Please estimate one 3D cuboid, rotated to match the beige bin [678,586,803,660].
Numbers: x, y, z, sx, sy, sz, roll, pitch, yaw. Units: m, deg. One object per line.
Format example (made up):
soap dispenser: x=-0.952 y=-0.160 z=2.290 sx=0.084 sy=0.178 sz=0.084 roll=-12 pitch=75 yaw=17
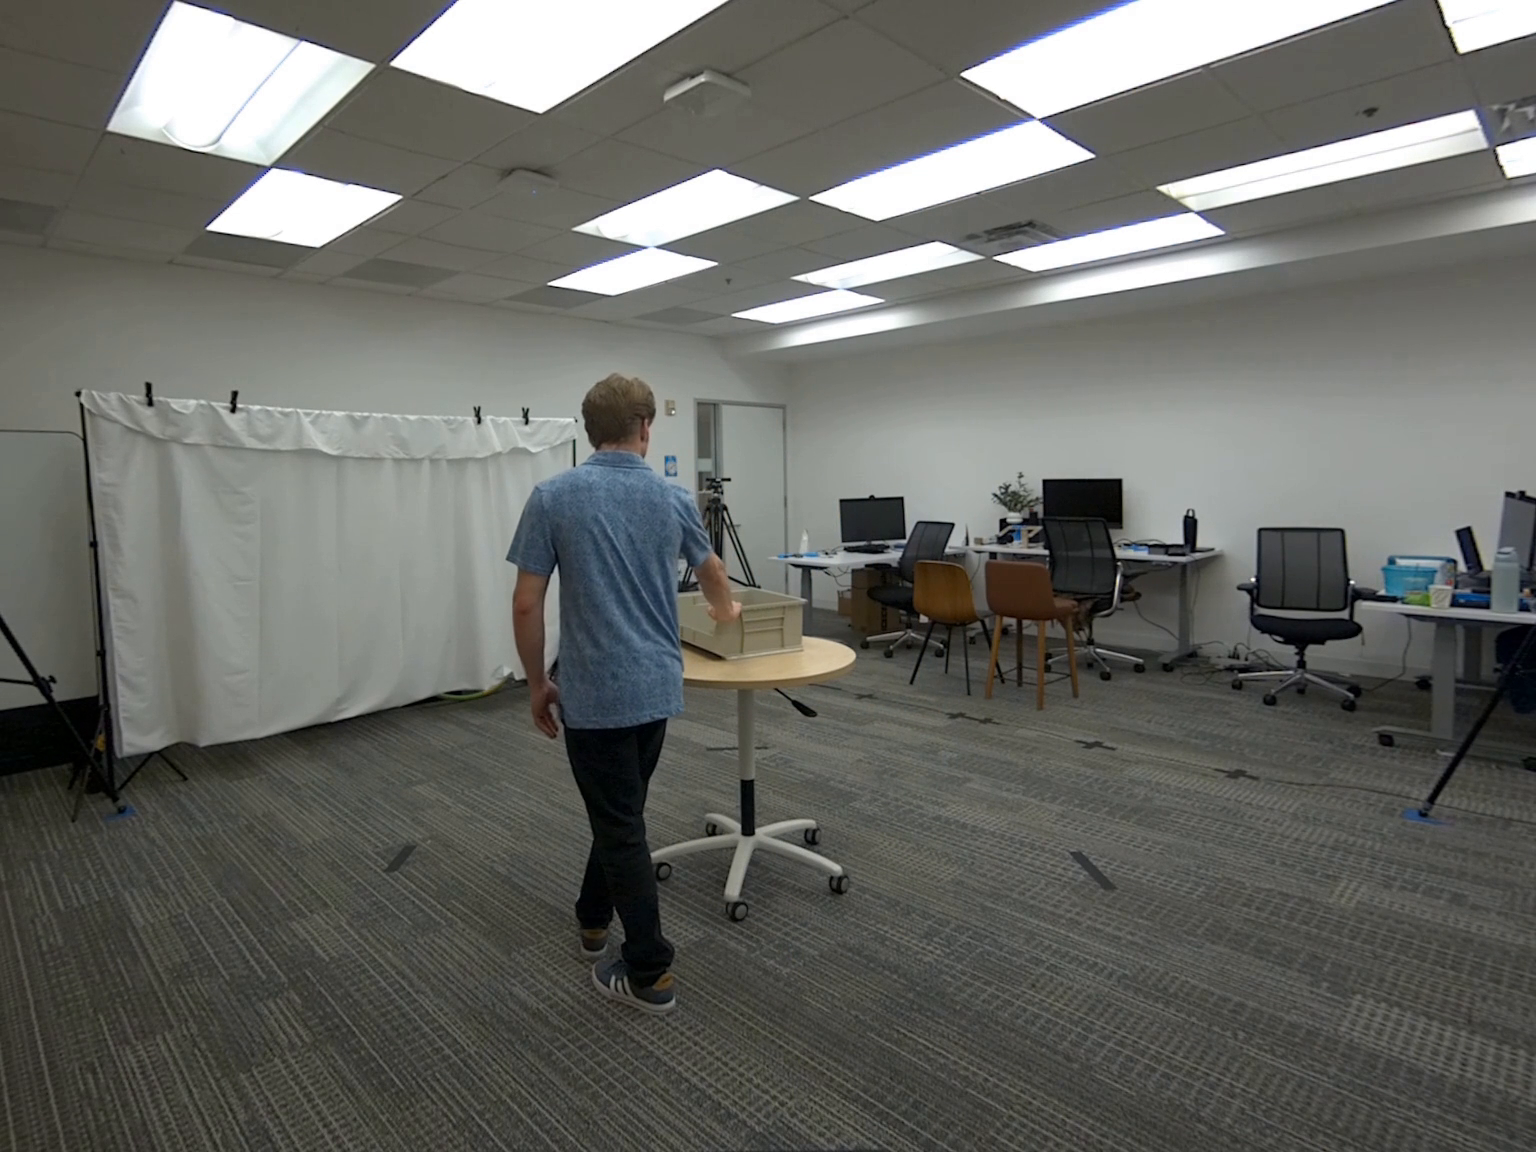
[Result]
beige bin: x=-0.119 y=0.164 z=3.120 sx=0.369 sy=0.188 sz=0.434 roll=-3 pitch=6 yaw=-28
